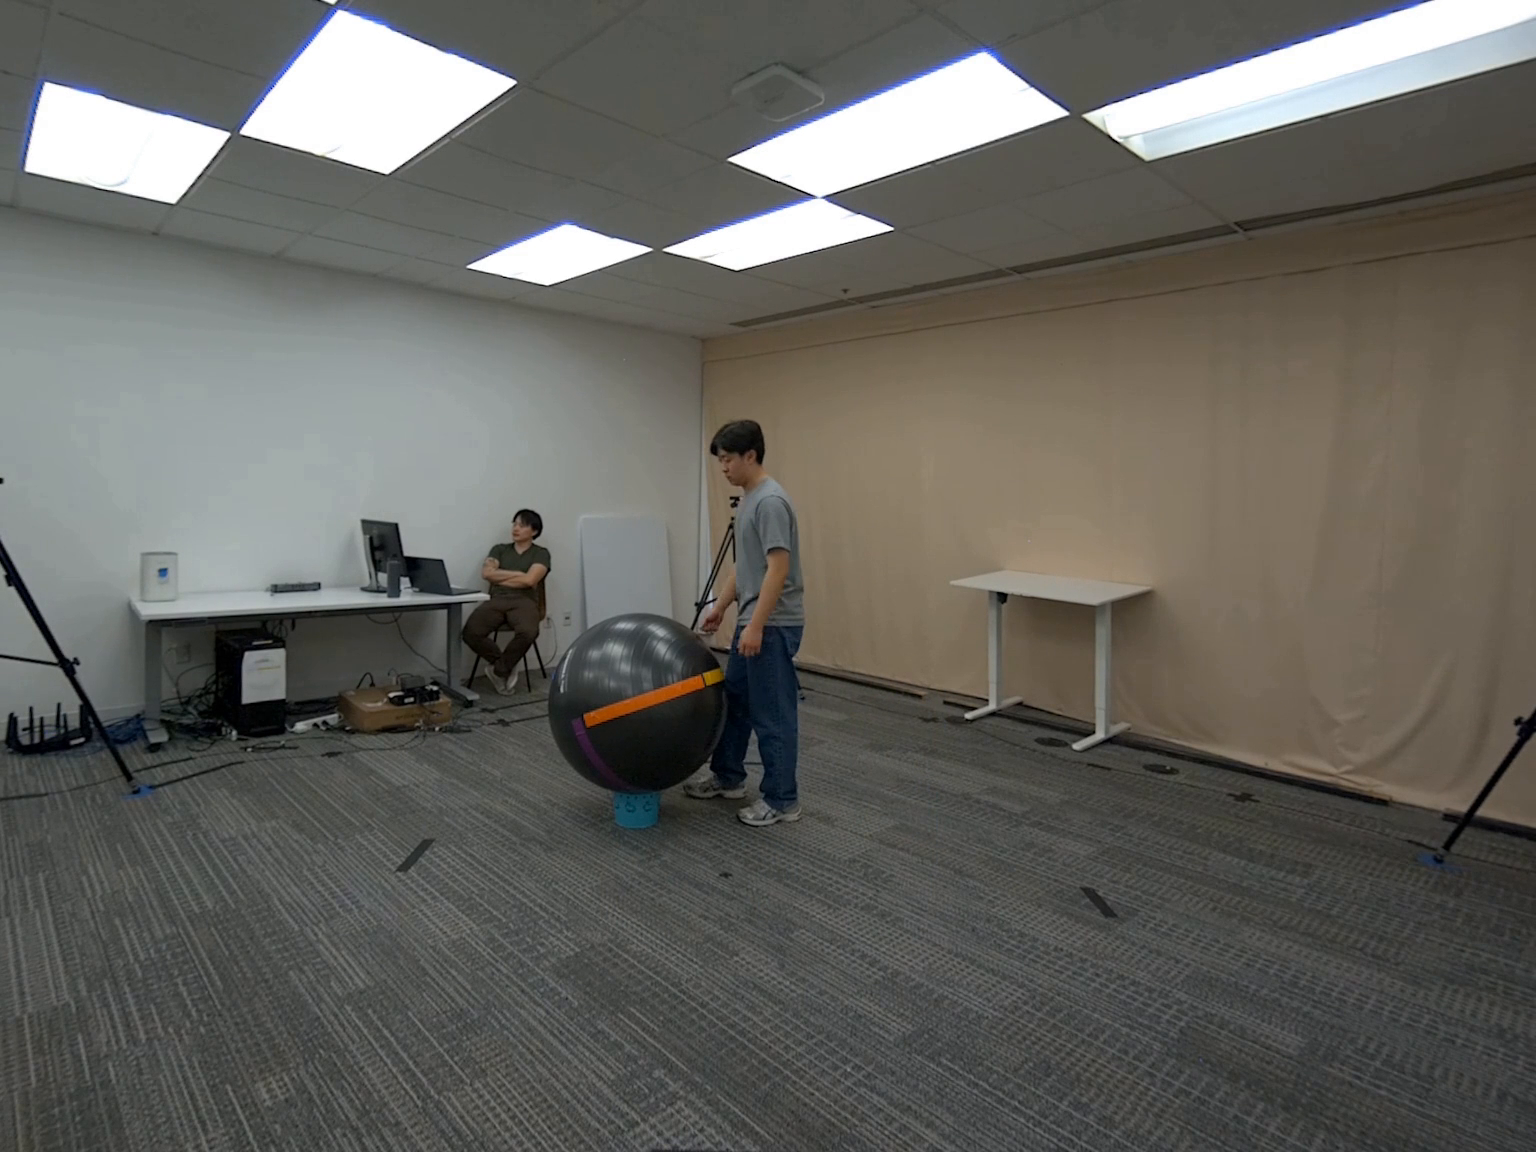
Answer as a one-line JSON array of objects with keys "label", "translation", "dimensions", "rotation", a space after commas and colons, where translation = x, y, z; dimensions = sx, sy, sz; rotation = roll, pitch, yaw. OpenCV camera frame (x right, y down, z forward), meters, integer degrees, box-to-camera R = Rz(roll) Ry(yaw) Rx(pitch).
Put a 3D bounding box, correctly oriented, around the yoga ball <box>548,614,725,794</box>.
[{"label": "yoga ball", "translation": [-0.568, 0.544, 3.596], "dimensions": [0.757, 0.756, 0.761], "rotation": [1, 4, -1]}]
